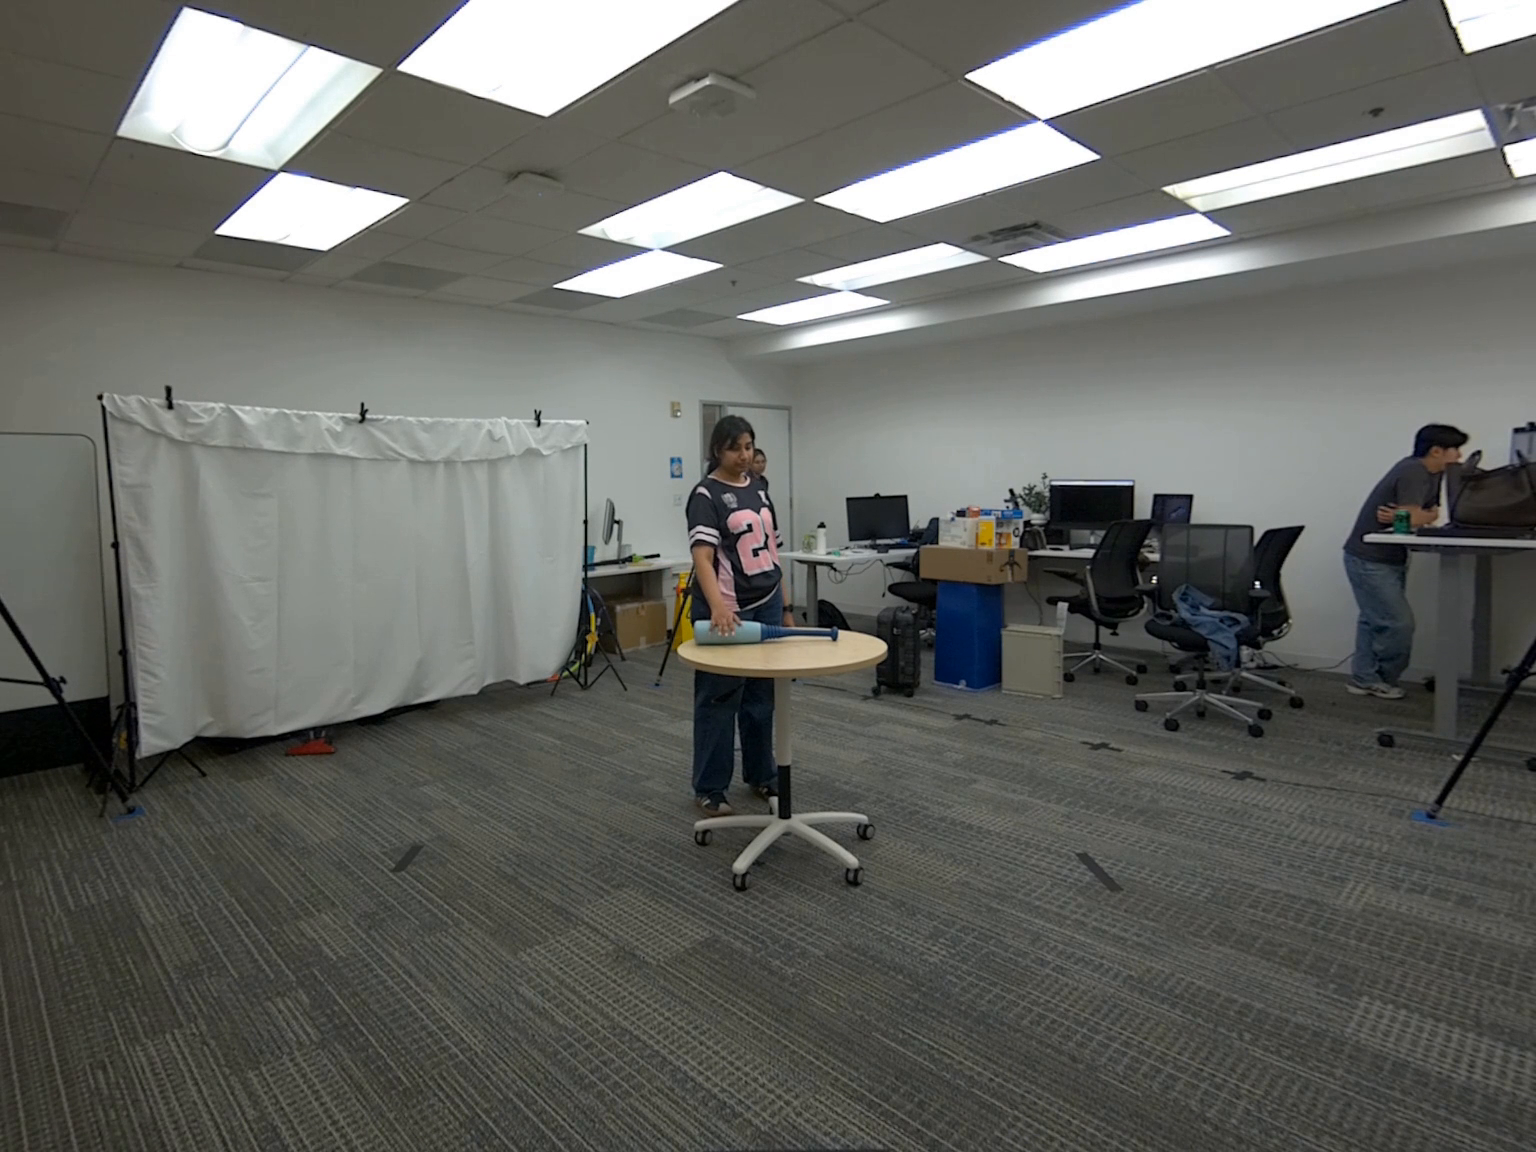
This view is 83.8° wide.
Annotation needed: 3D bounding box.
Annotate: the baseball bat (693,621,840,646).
[{"bbox_3d":[-0.007,0.217,3.214,0.541,0.089,0.090,0,5,-4],"label":"baseball bat"}]
